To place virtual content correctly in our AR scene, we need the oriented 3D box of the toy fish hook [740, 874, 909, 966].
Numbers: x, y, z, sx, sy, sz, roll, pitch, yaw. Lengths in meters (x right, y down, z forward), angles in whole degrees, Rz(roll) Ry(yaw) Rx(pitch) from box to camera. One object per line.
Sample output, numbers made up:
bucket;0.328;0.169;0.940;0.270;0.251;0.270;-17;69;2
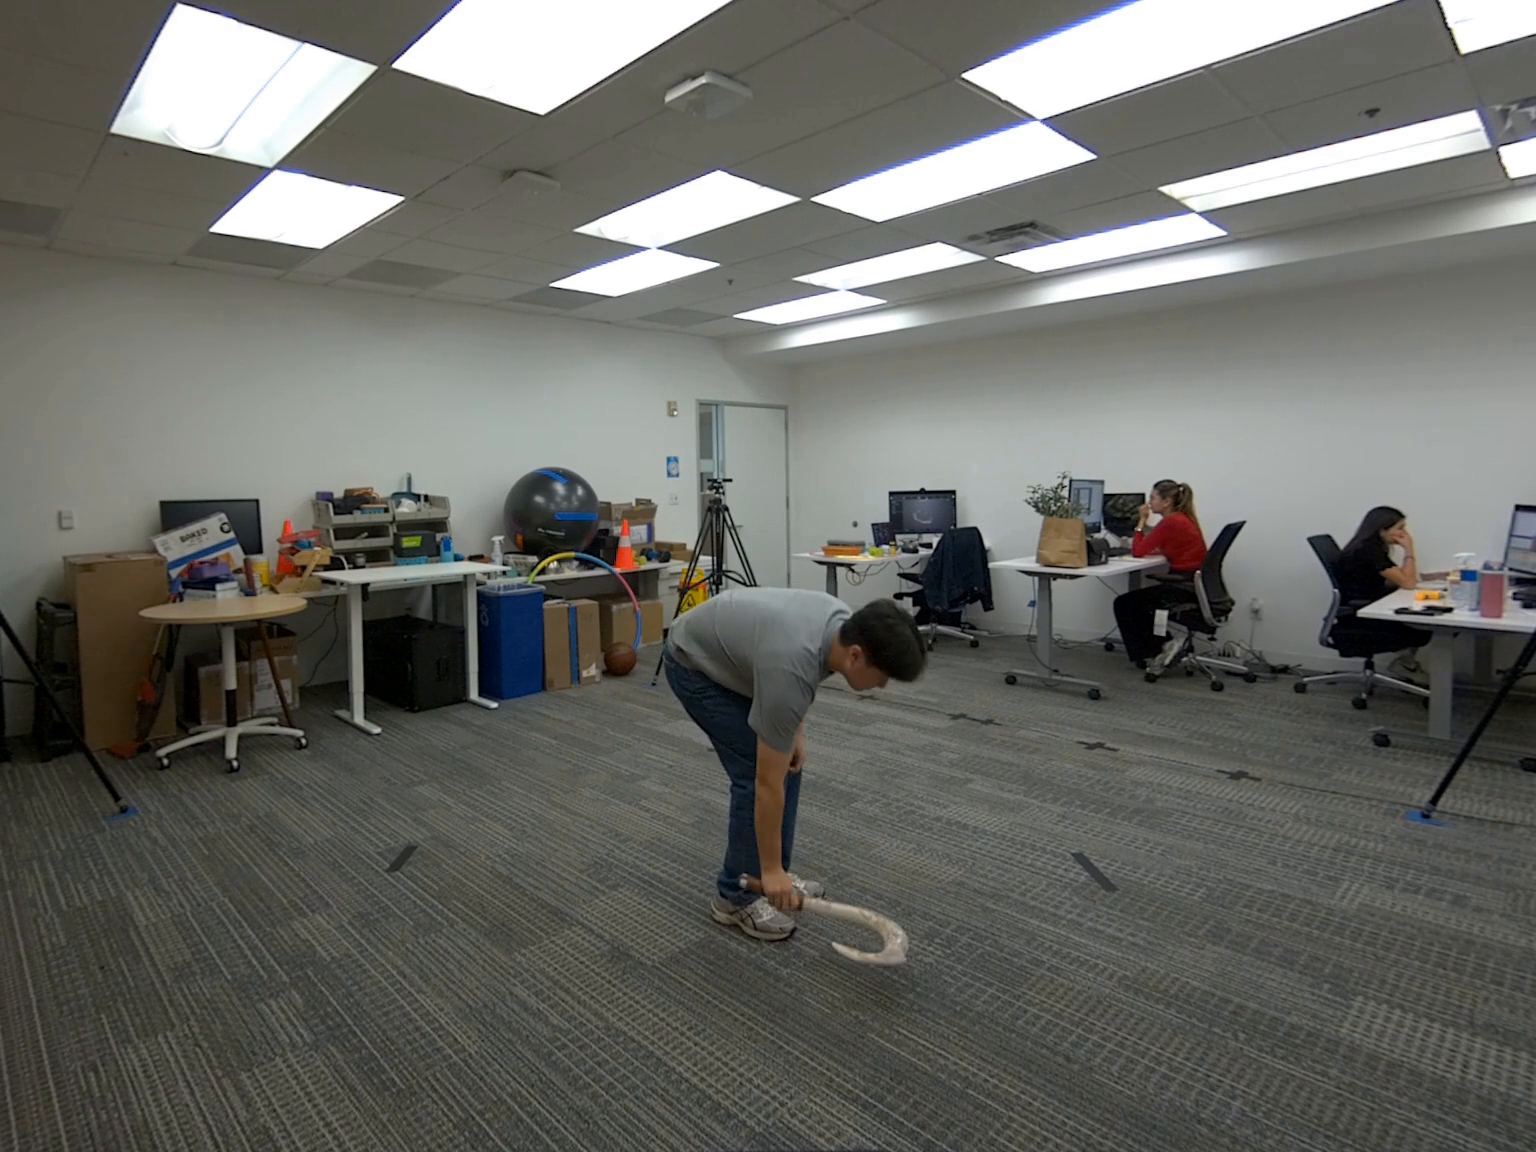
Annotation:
toy fish hook;0.151;0.952;2.385;0.515;0.048;0.222;14;10;13
